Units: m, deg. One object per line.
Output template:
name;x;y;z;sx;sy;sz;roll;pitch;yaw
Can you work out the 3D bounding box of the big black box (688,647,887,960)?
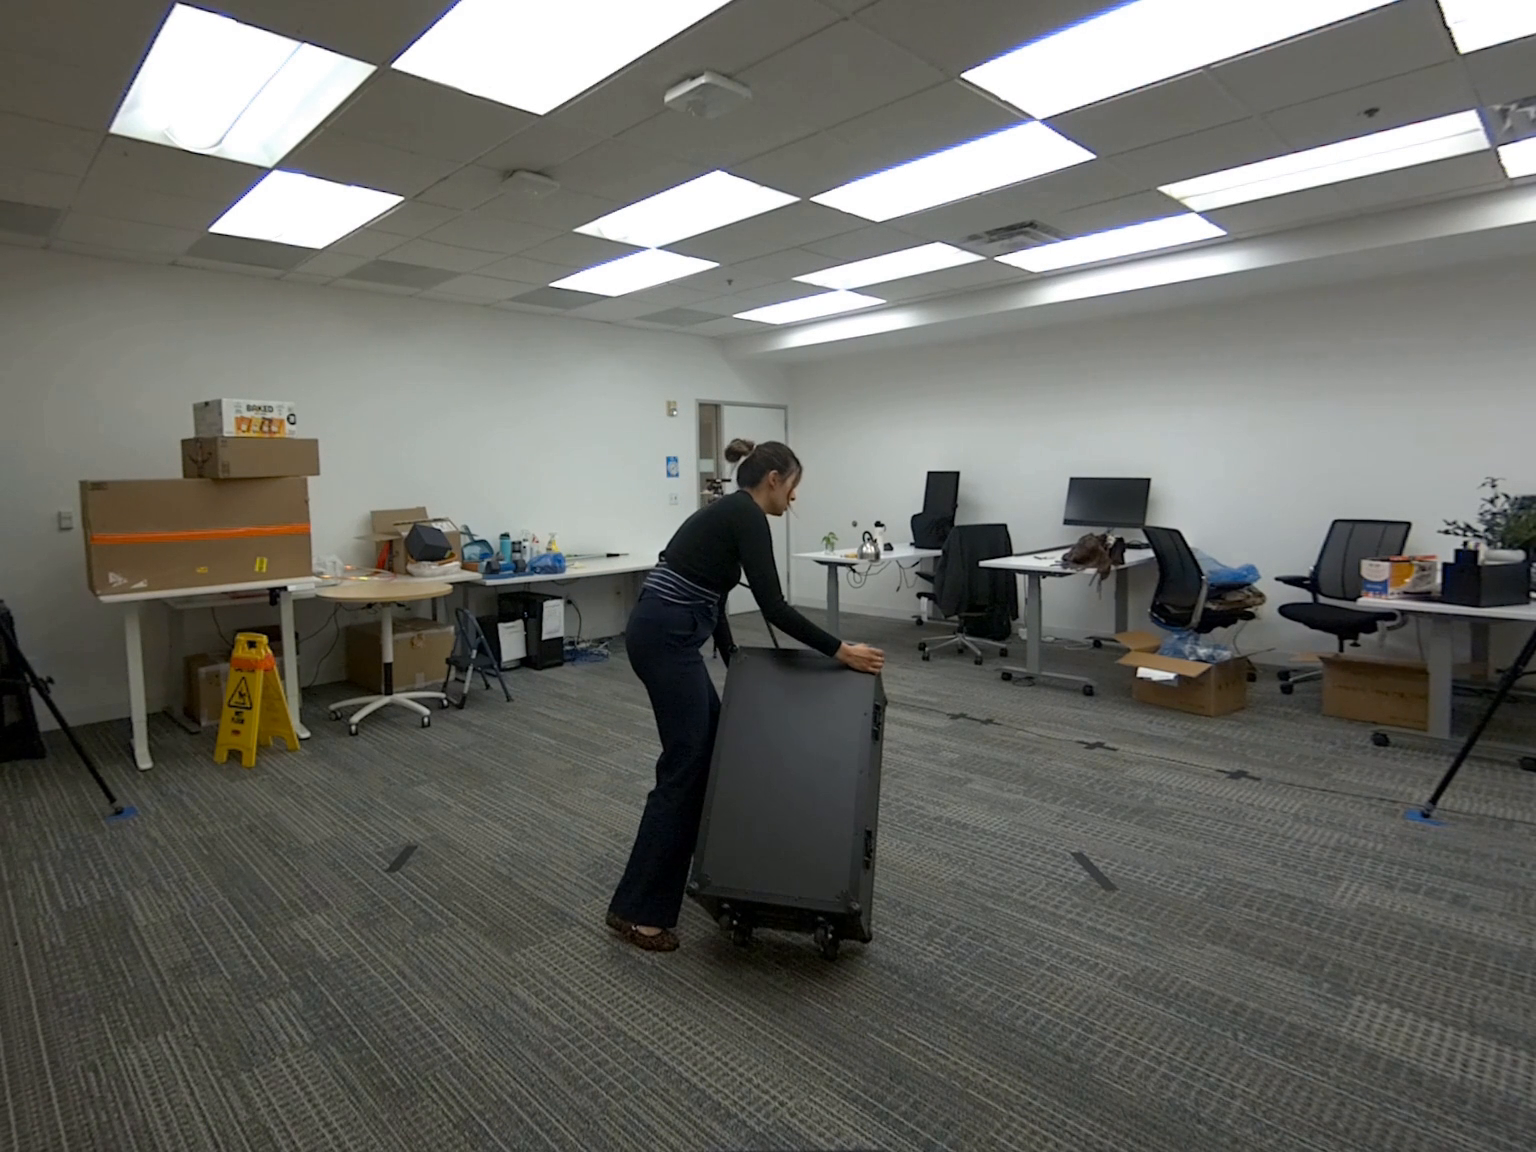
big black box;0.089;0.688;2.661;0.529;0.879;0.382;-1;-35;15
